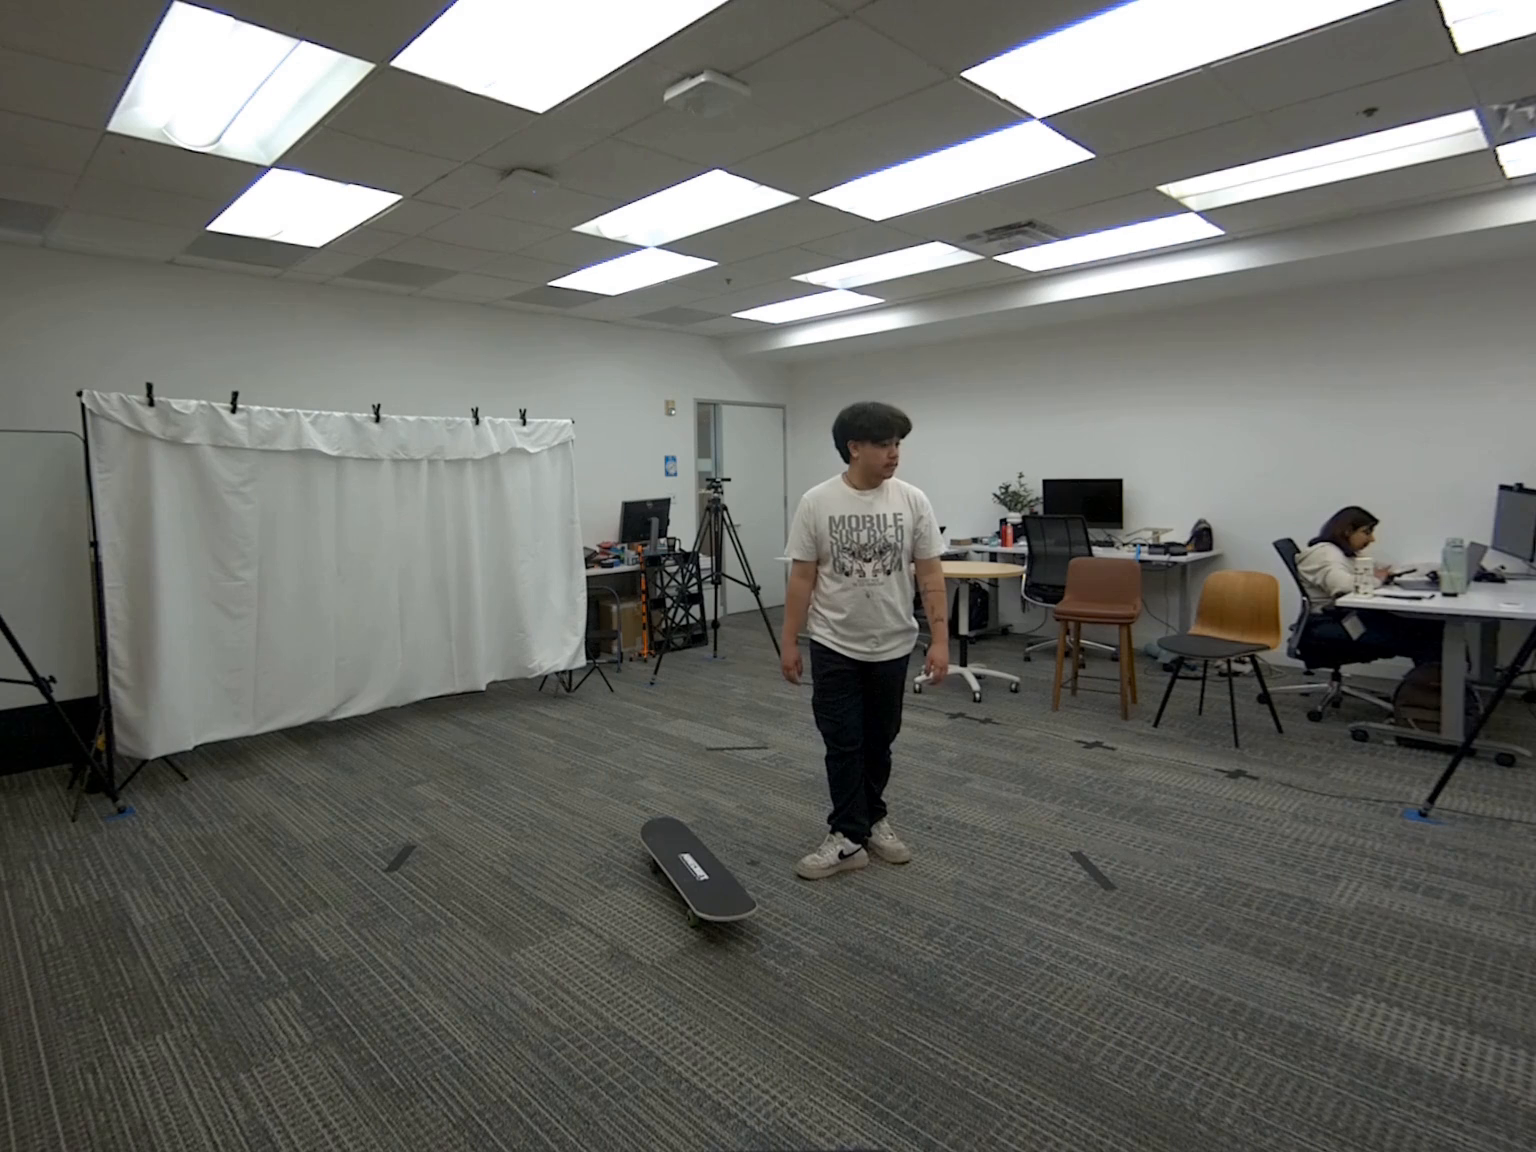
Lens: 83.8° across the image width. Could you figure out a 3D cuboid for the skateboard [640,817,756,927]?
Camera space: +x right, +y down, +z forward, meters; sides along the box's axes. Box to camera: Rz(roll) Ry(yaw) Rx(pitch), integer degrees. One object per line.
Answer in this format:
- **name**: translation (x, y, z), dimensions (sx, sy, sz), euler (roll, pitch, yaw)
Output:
- **skateboard**: translation (-0.246, 1.016, 2.887), dimensions (0.190, 0.110, 0.805), euler (-4, 7, -23)
